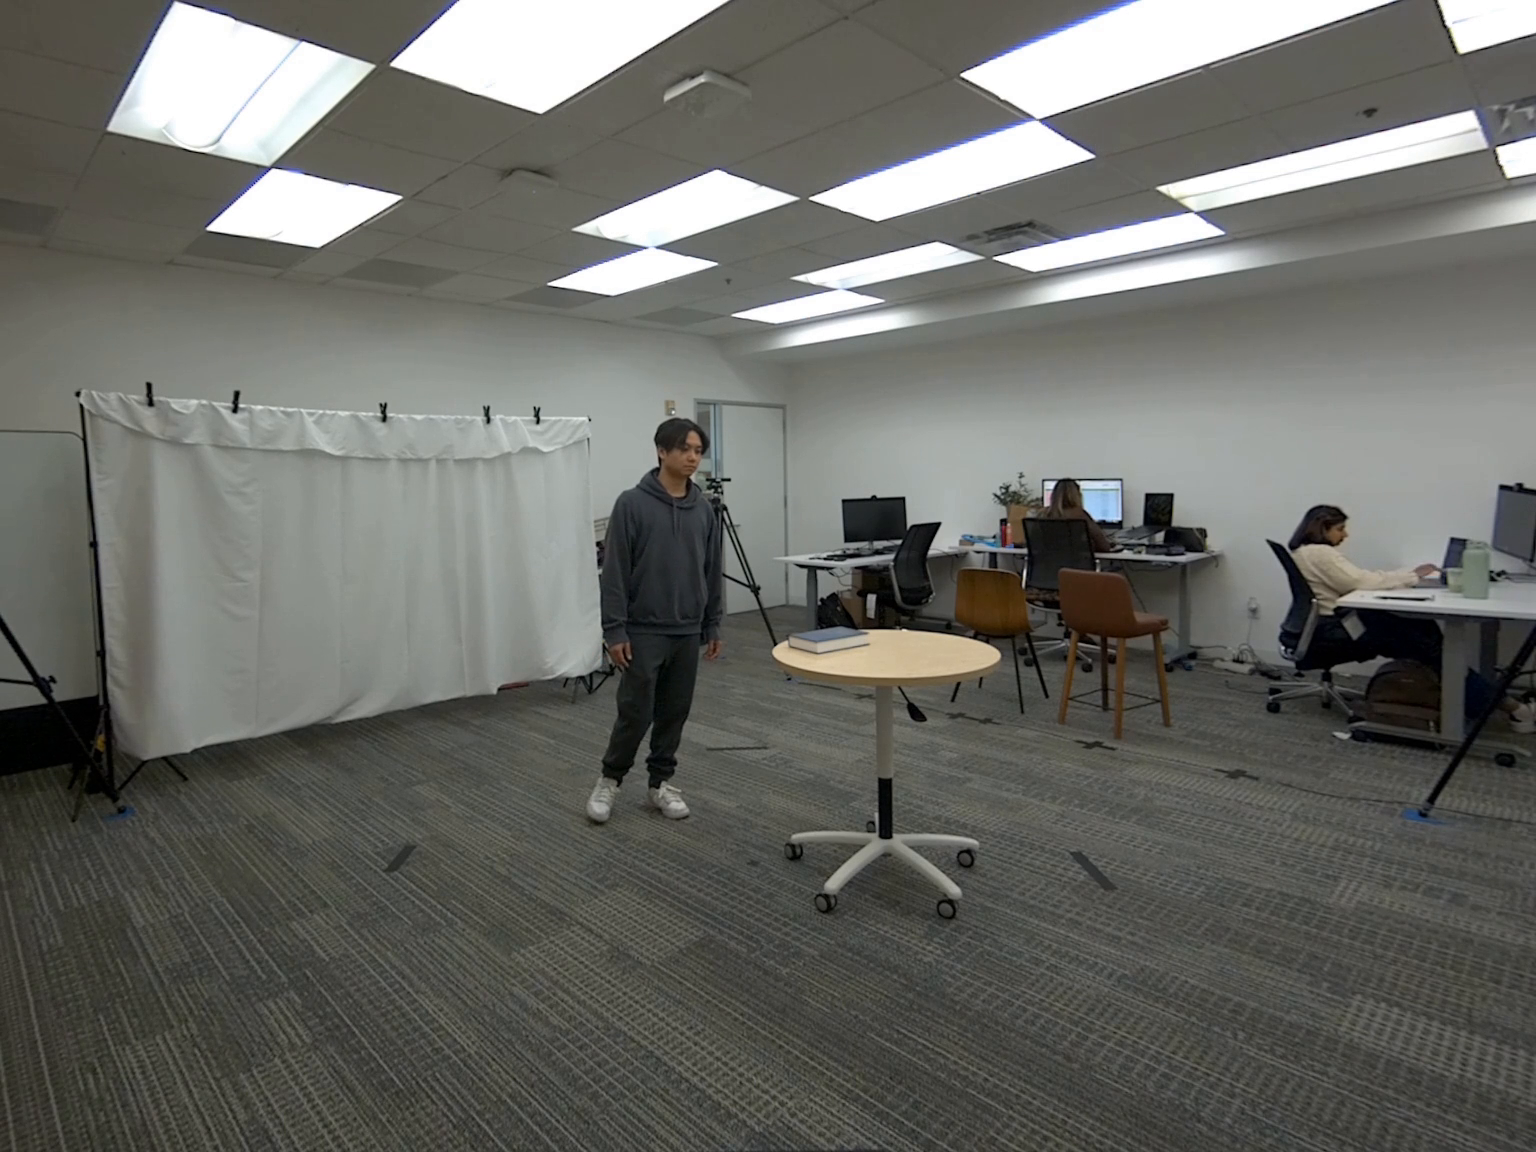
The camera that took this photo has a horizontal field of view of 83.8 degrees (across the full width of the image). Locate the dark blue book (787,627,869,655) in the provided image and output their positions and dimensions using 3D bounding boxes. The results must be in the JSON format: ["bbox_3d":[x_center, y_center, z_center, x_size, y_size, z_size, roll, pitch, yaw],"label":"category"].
[{"bbox_3d":[0.224,0.231,3.038,0.239,0.045,0.168,-6,8,-35],"label":"dark blue book"}]
